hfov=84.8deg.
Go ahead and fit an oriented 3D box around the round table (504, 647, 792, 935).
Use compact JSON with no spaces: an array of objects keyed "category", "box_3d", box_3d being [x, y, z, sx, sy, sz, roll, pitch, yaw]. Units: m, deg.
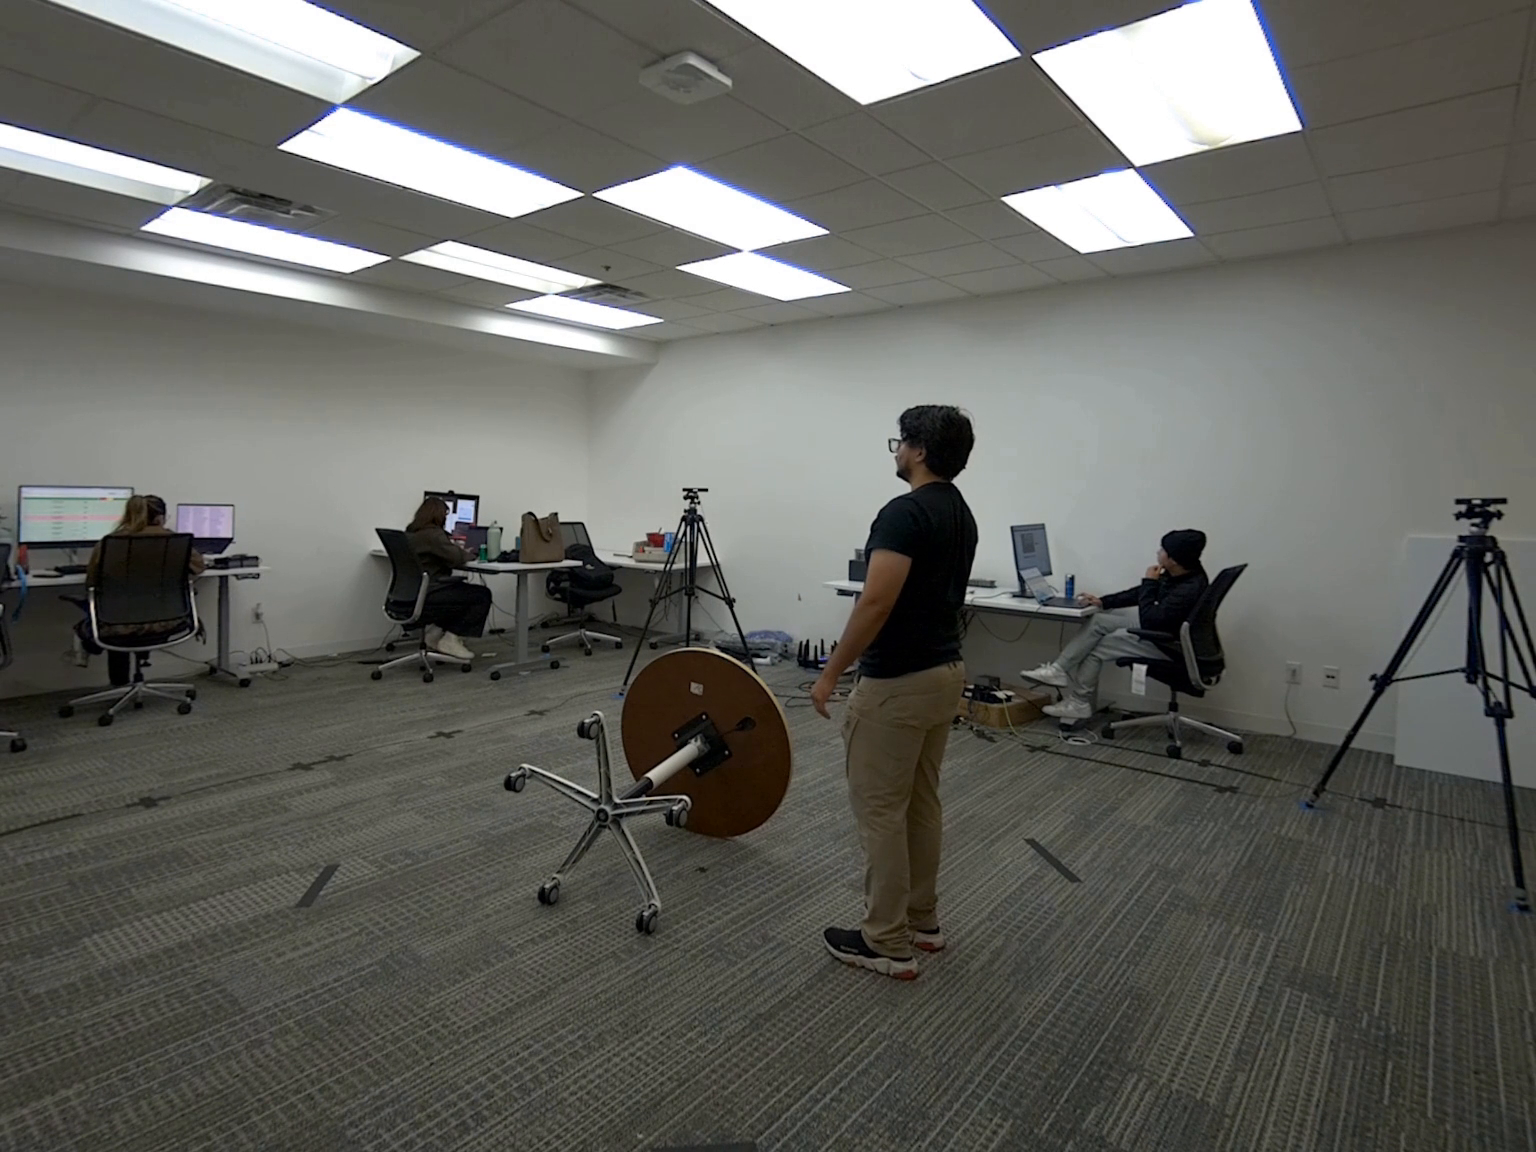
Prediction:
[{"category":"round table","box_3d":[-0.426,0.714,3.042,0.806,0.779,0.772,3,9,25]}]
